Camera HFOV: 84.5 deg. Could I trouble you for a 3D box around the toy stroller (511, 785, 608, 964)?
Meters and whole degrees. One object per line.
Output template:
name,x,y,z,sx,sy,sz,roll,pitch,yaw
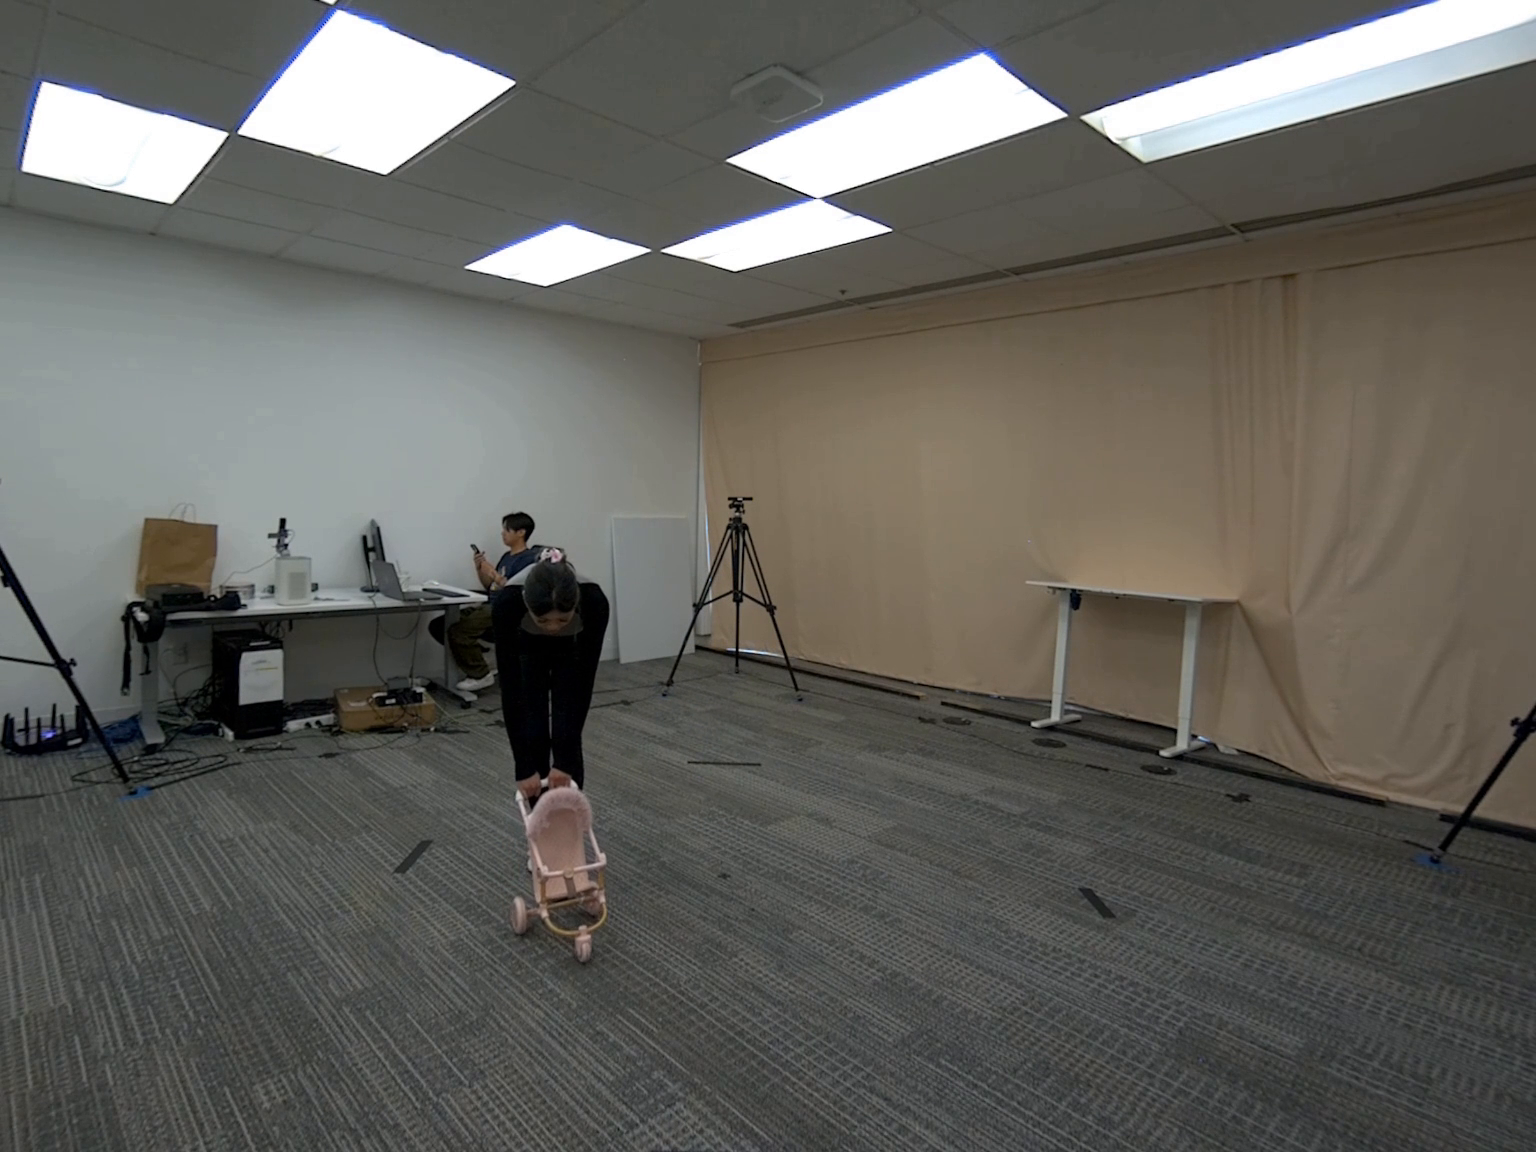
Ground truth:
toy stroller,-0.655,0.912,2.668,0.276,0.540,0.345,-1,-12,-28
